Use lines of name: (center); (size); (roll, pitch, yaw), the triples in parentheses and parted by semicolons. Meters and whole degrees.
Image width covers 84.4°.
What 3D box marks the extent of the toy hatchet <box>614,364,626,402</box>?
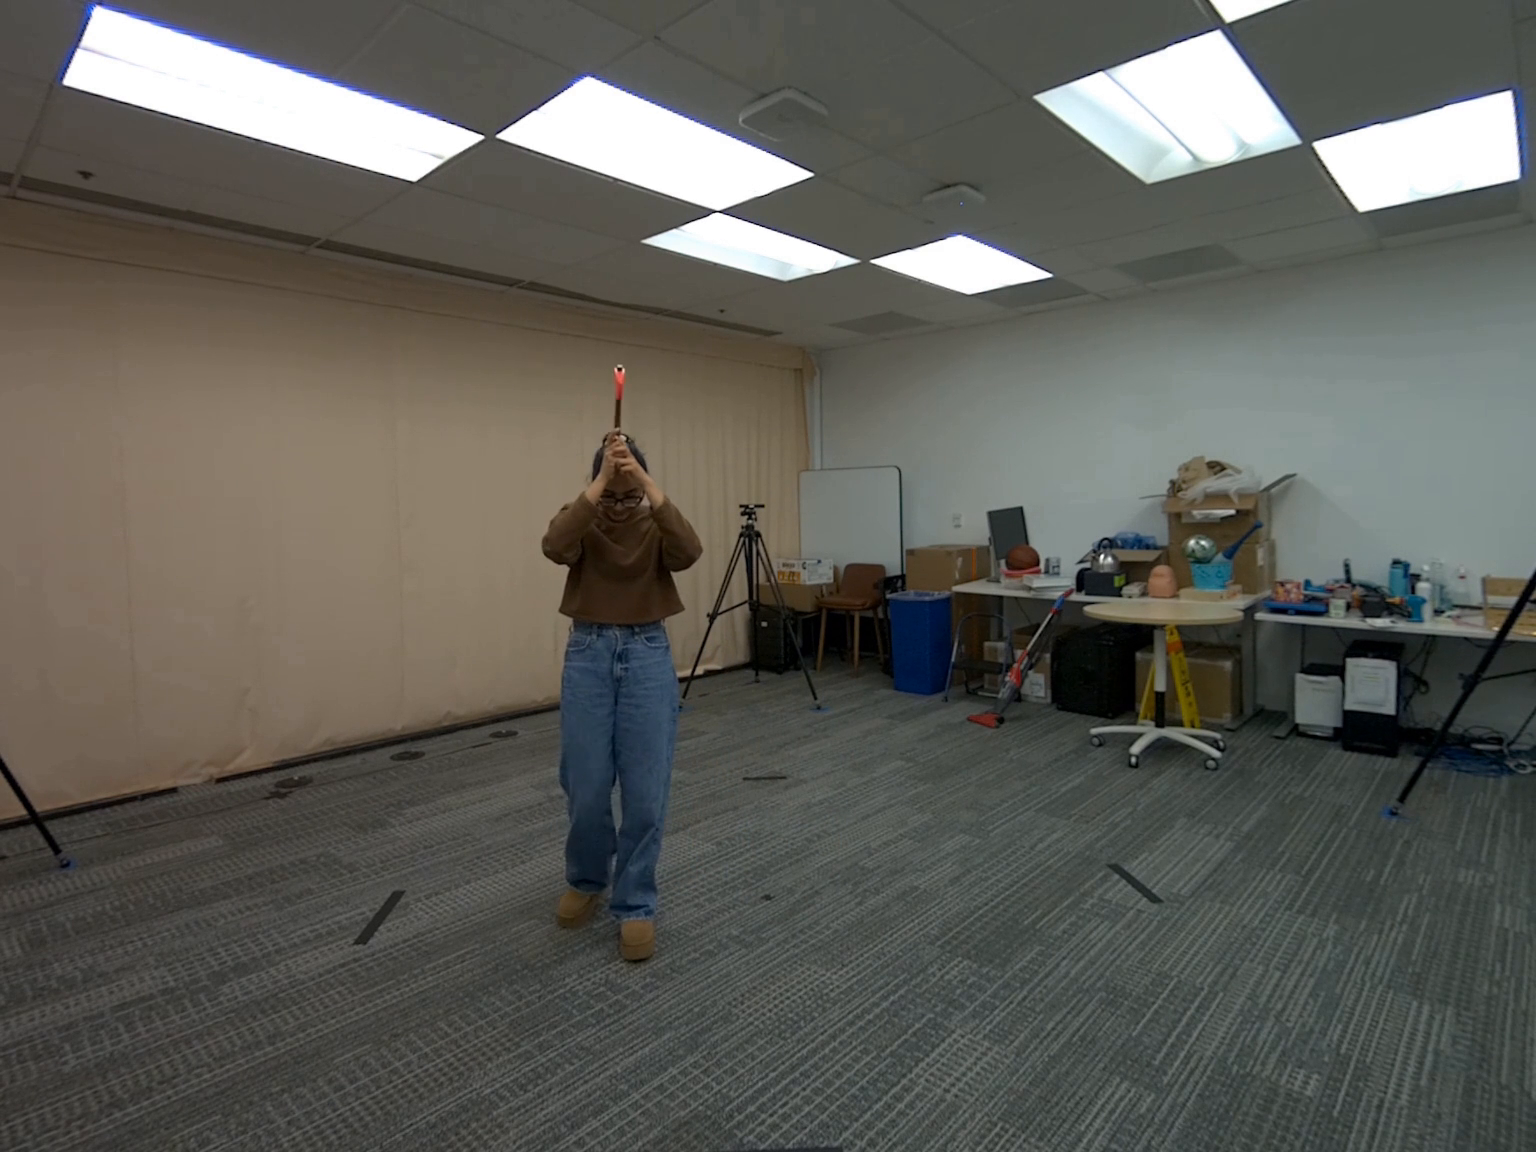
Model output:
toy hatchet: (-0.427, -0.466, 2.401); (0.029, 0.268, 0.134); (1, 15, -16)
